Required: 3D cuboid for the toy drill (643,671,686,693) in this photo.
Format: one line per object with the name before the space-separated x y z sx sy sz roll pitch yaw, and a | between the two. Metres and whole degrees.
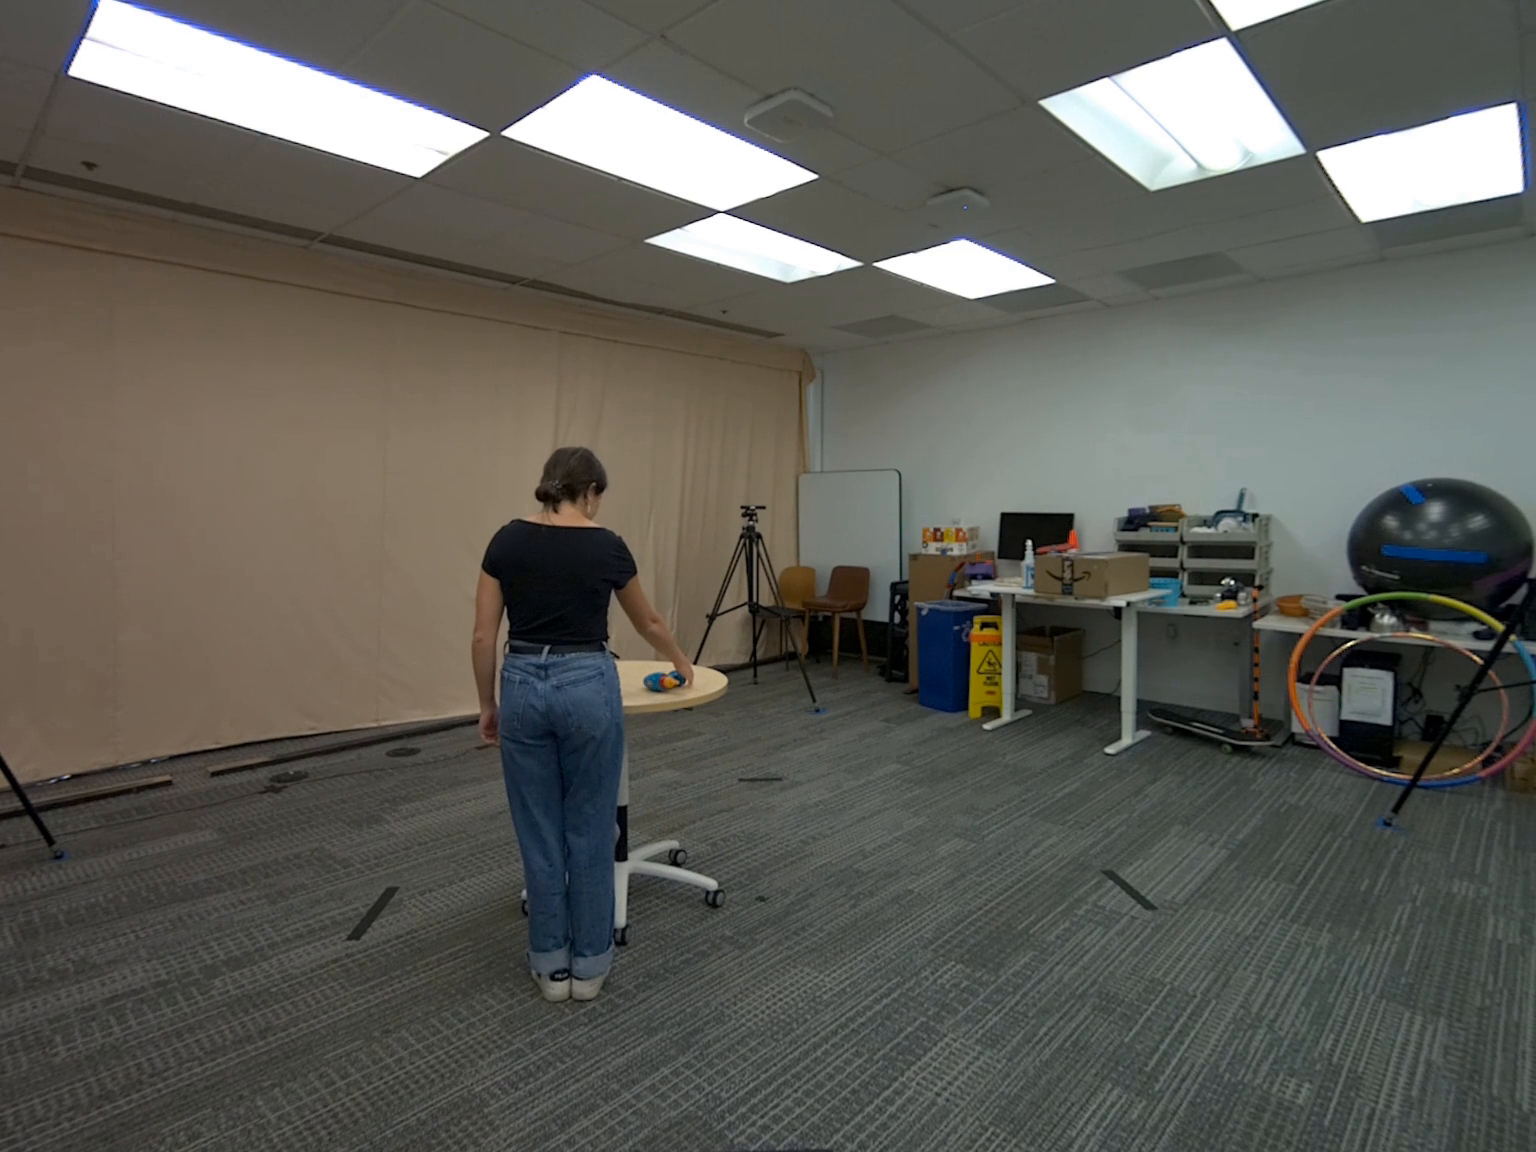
toy drill | -0.320 0.351 2.800 0.141 0.061 0.175 -3 -3 -44
